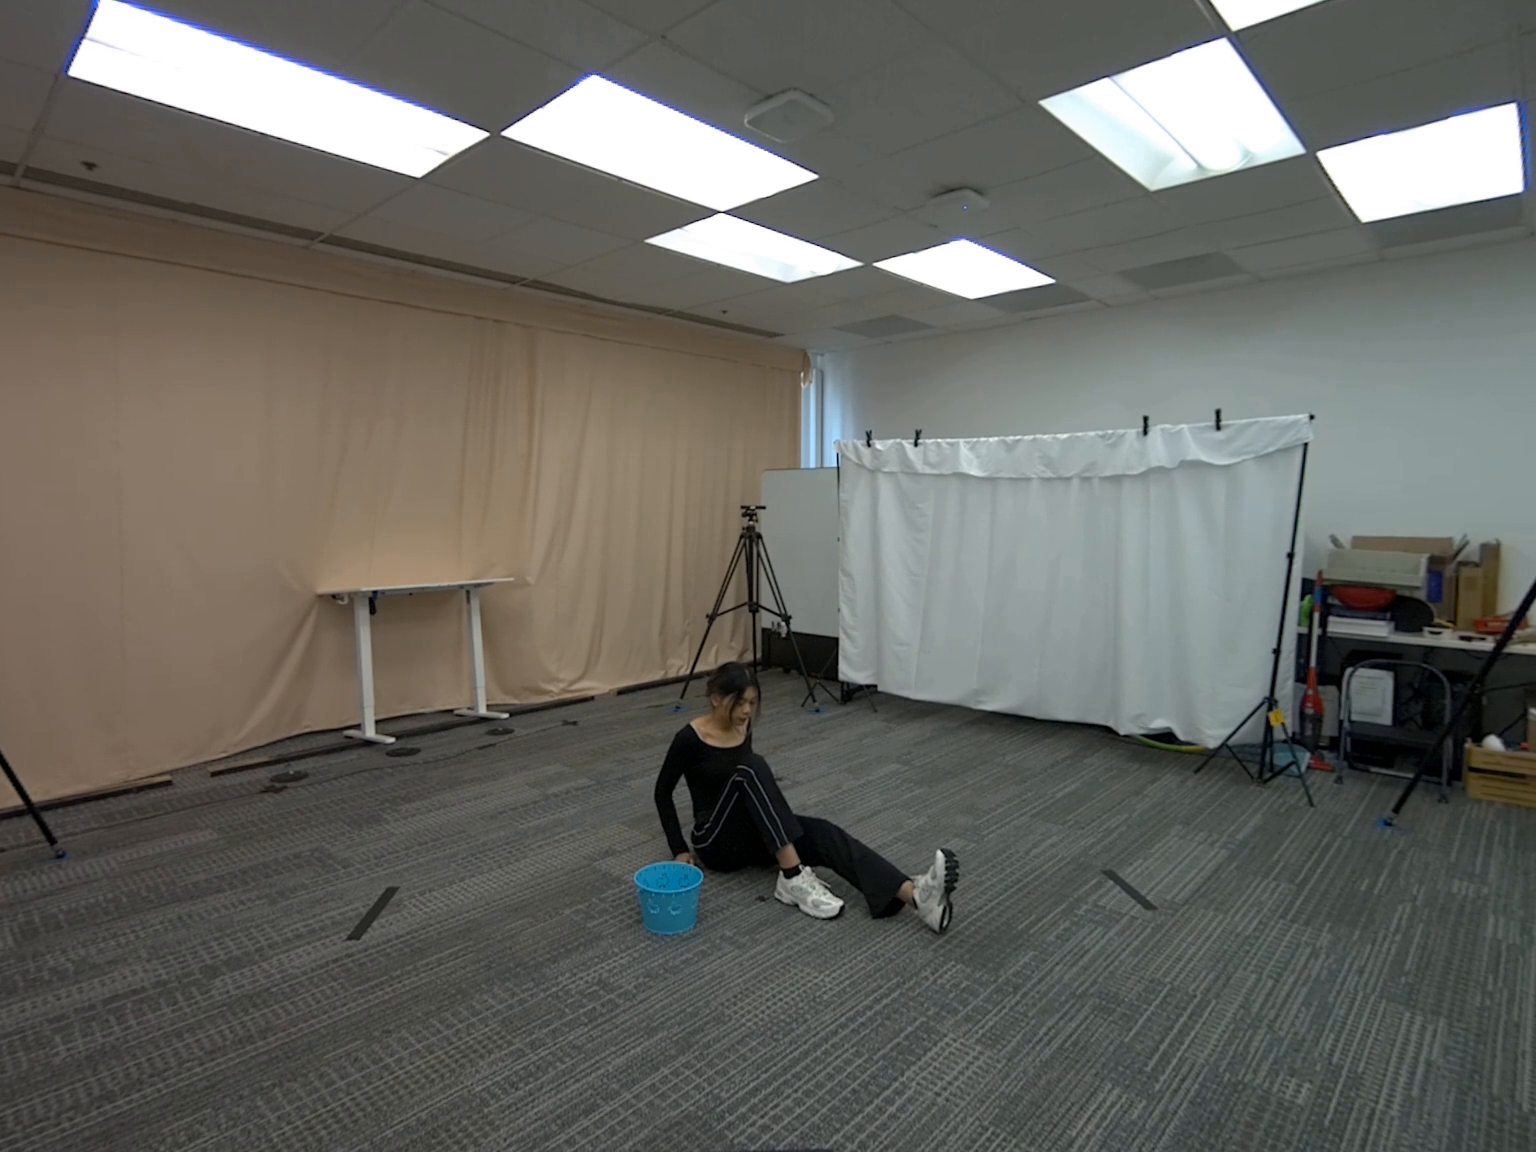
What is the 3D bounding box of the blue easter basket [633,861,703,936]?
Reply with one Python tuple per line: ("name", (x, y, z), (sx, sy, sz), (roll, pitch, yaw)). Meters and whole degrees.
("blue easter basket", (-0.325, 1.072, 2.835), (0.243, 0.155, 0.244), (0, 5, -2))
